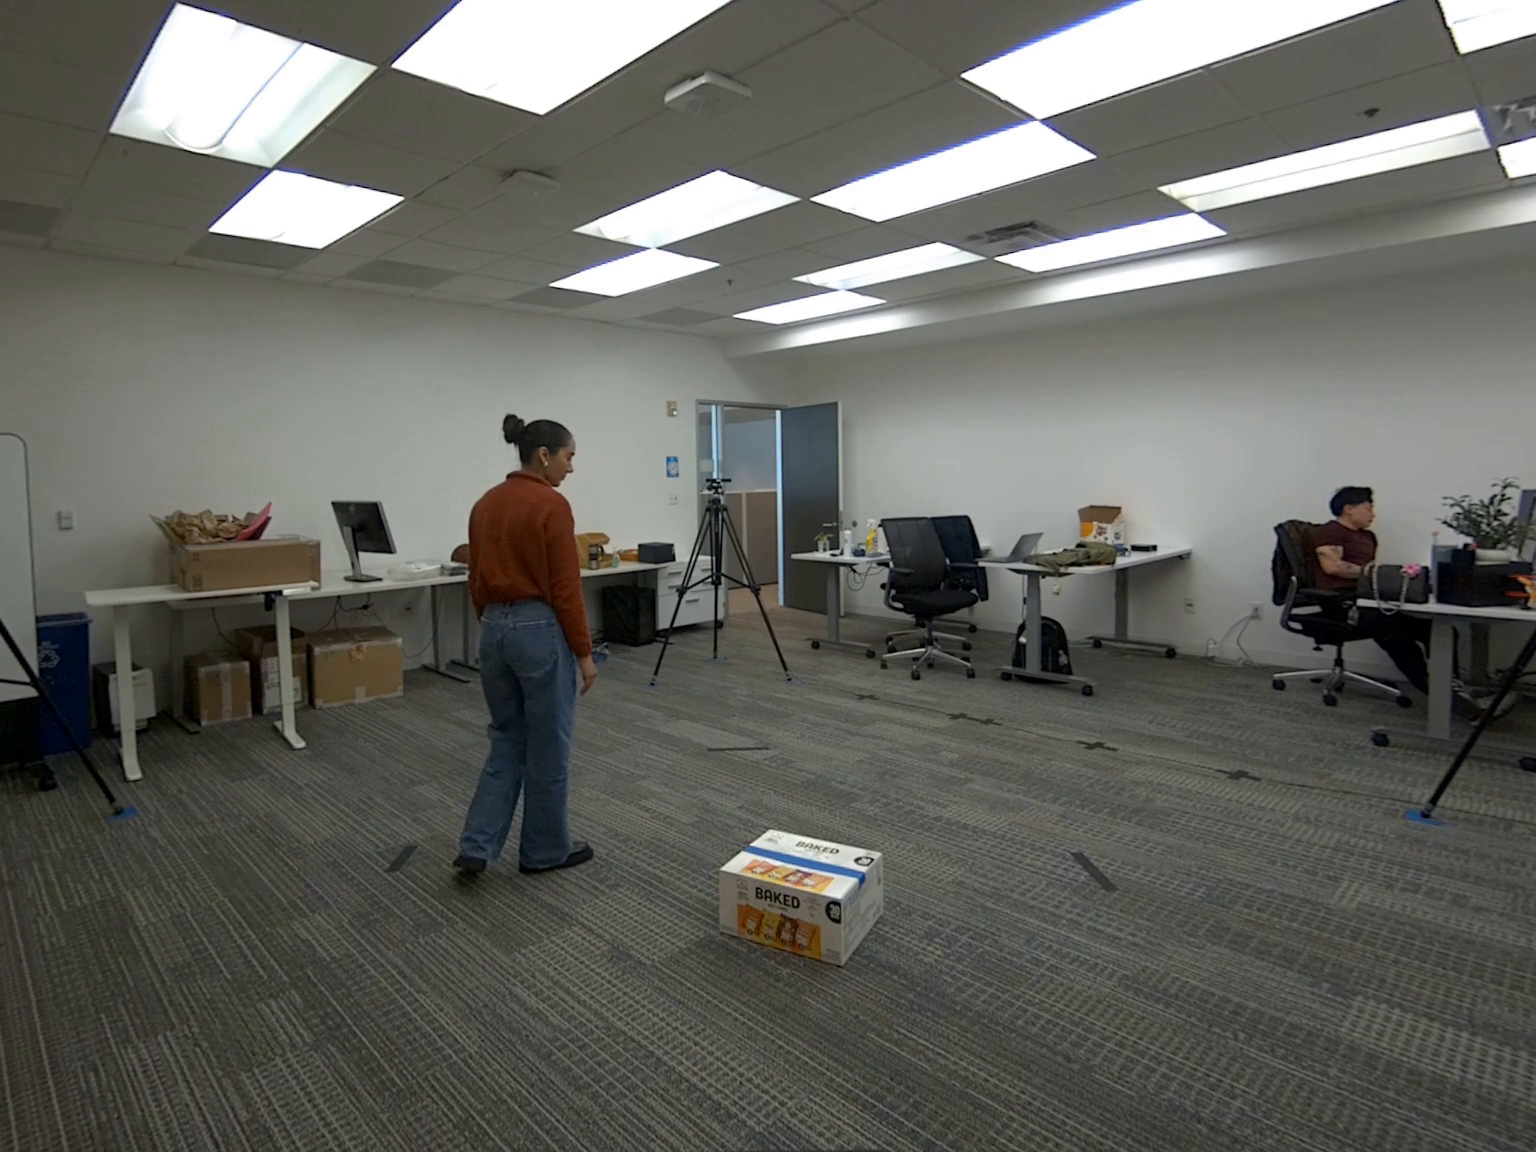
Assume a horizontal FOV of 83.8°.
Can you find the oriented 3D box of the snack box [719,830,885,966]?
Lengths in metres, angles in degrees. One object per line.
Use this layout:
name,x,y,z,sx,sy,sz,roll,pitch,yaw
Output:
snack box,0.113,0.991,2.666,0.416,0.205,0.333,2,7,29
